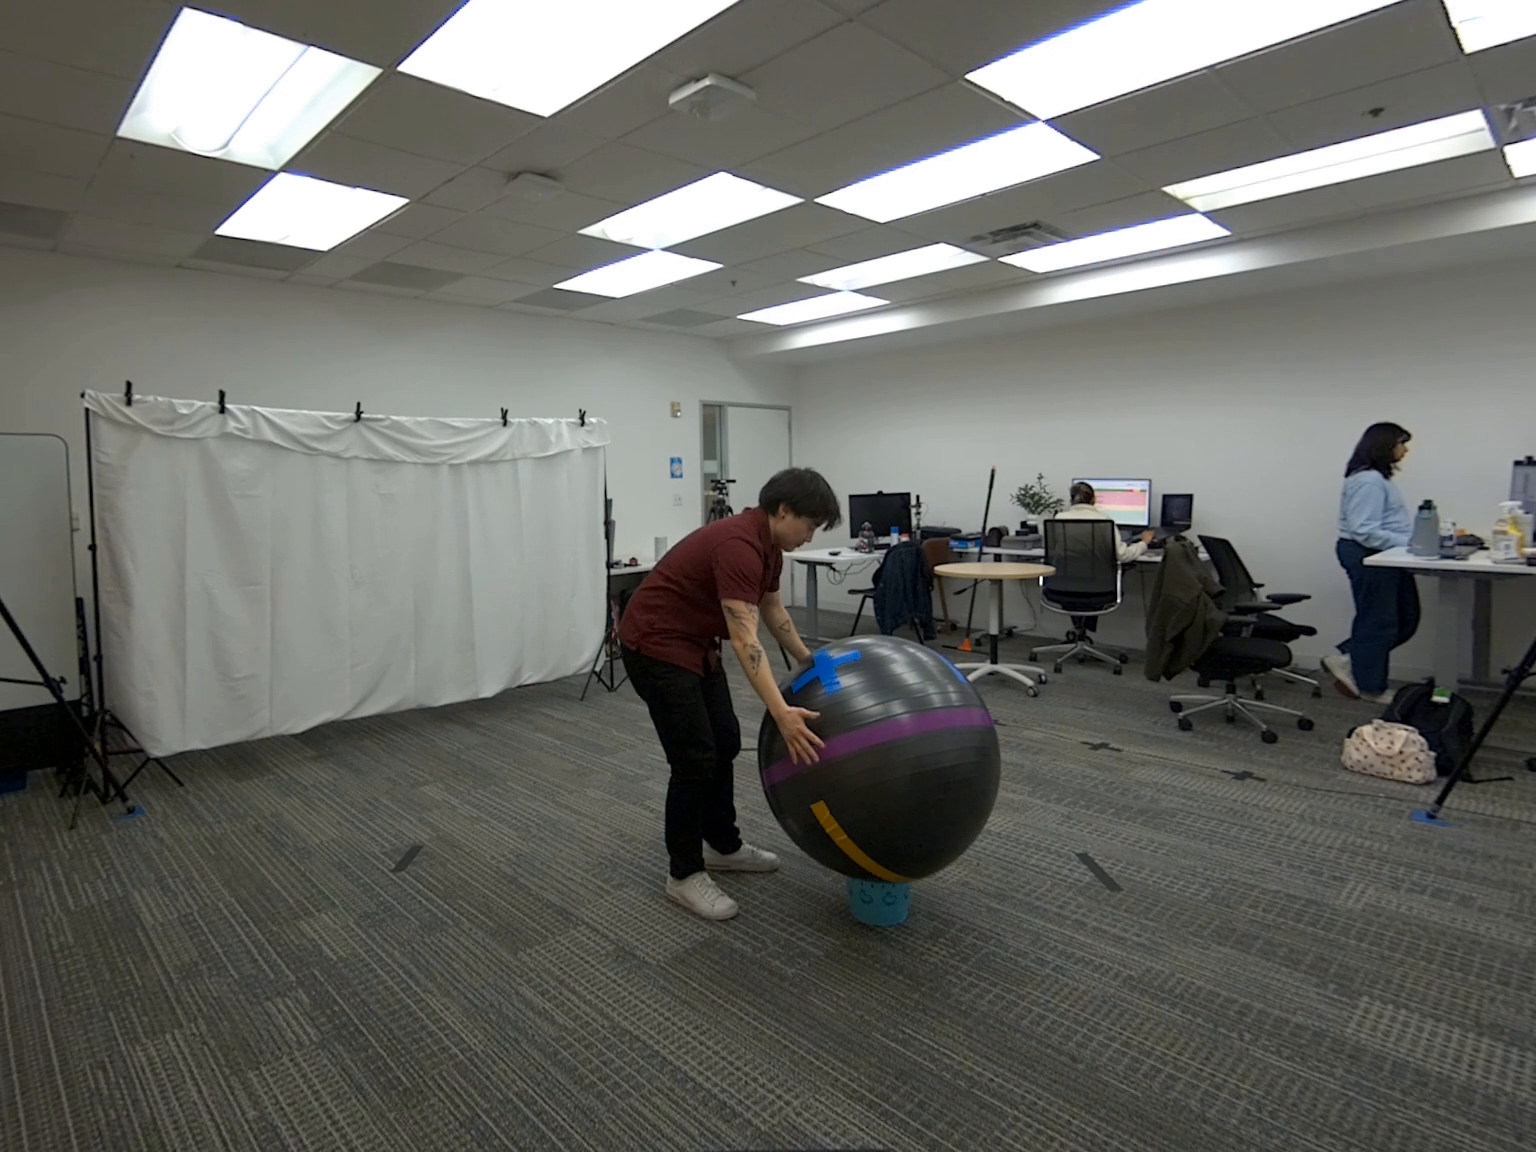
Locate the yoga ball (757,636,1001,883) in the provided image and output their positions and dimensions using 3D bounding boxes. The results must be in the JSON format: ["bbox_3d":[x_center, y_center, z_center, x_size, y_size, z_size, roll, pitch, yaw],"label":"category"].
[{"bbox_3d":[0.346,0.577,2.720,0.757,0.755,0.762,-1,5,-2],"label":"yoga ball"}]
